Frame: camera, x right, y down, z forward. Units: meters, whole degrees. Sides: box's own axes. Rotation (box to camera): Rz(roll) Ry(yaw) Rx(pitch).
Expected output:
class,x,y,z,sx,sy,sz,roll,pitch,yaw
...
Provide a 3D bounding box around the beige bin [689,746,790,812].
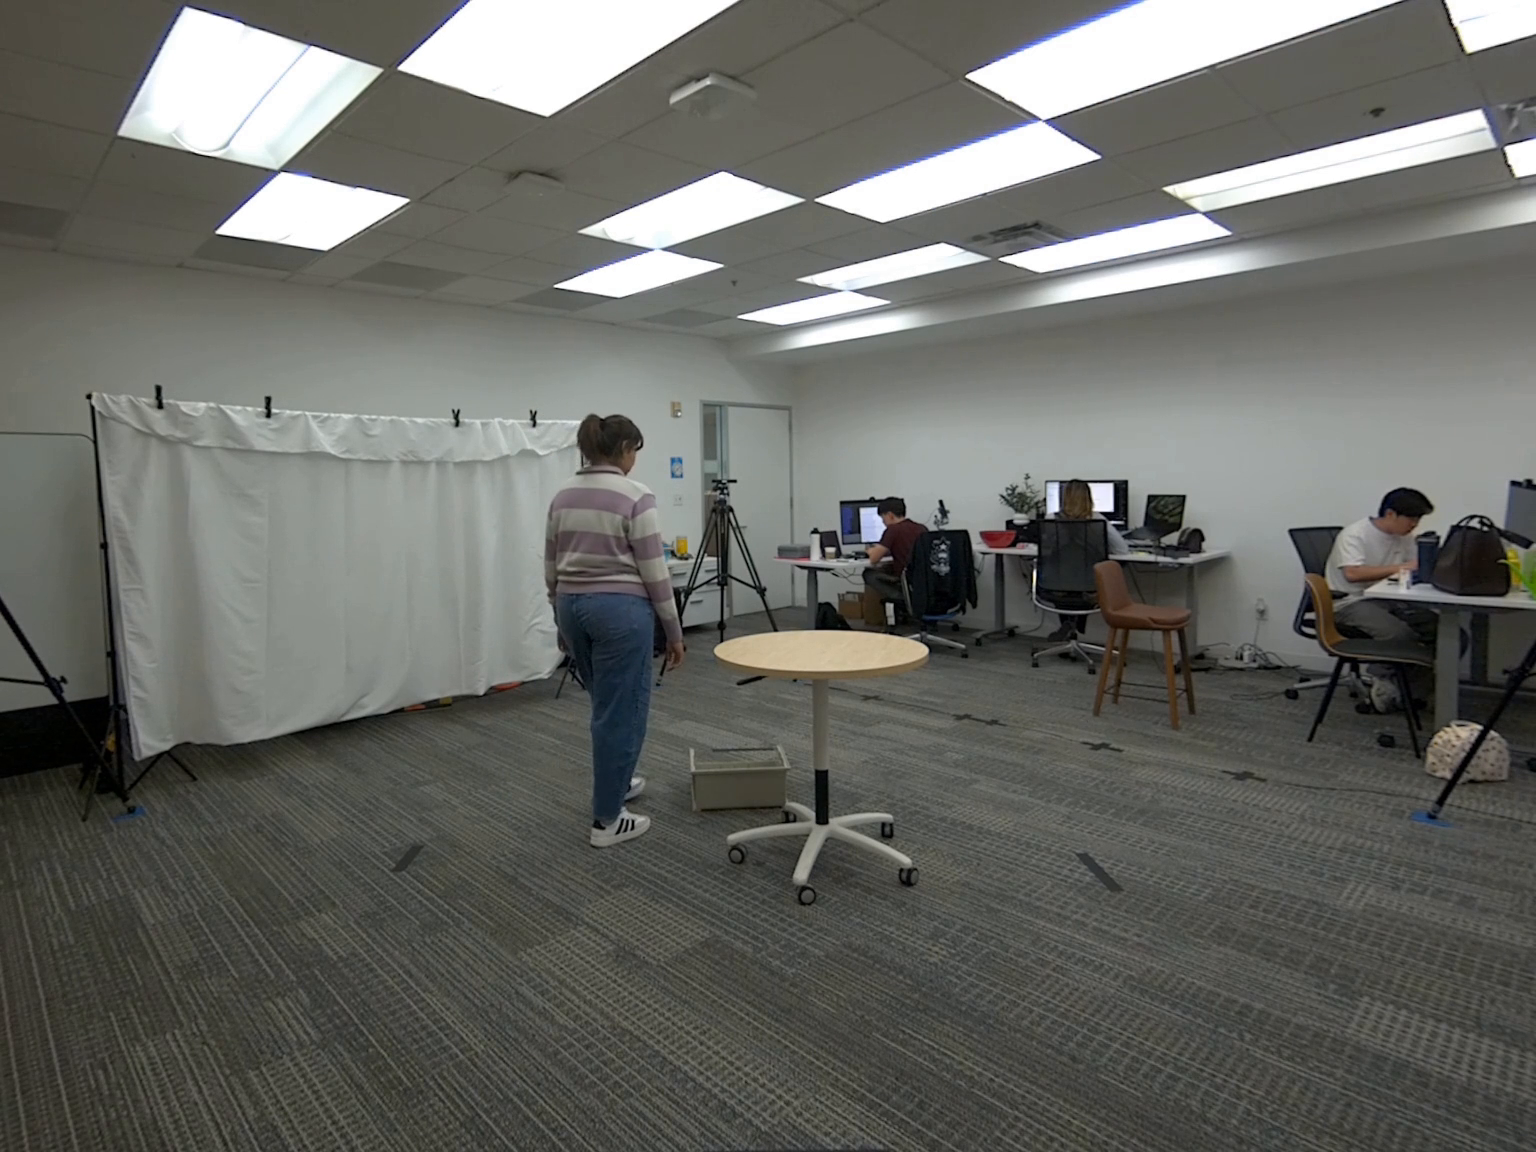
class,x,y,z,sx,sy,sz,roll,pitch,yaw
beige bin,-0.135,0.885,3.794,0.421,0.188,0.381,-1,7,-5
